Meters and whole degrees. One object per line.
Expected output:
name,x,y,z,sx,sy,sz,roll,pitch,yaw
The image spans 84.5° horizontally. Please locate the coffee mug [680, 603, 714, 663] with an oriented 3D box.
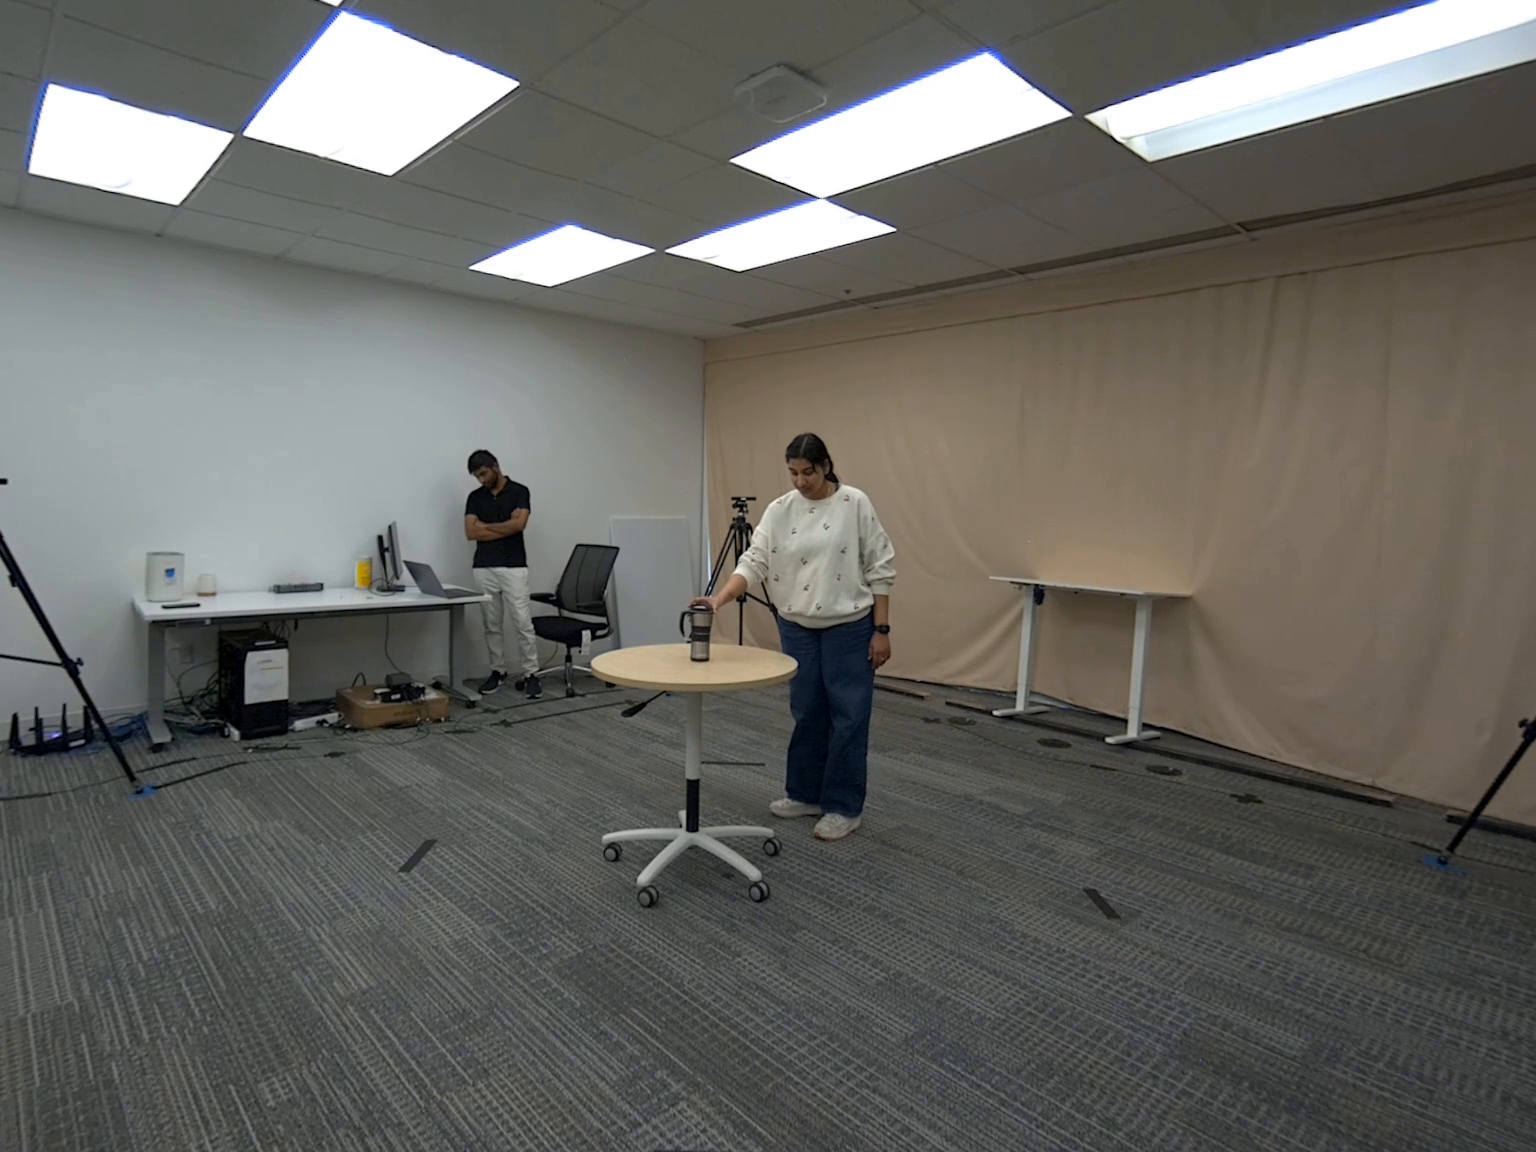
coffee mug,-0.282,0.219,3.167,0.125,0.202,0.086,6,5,41
